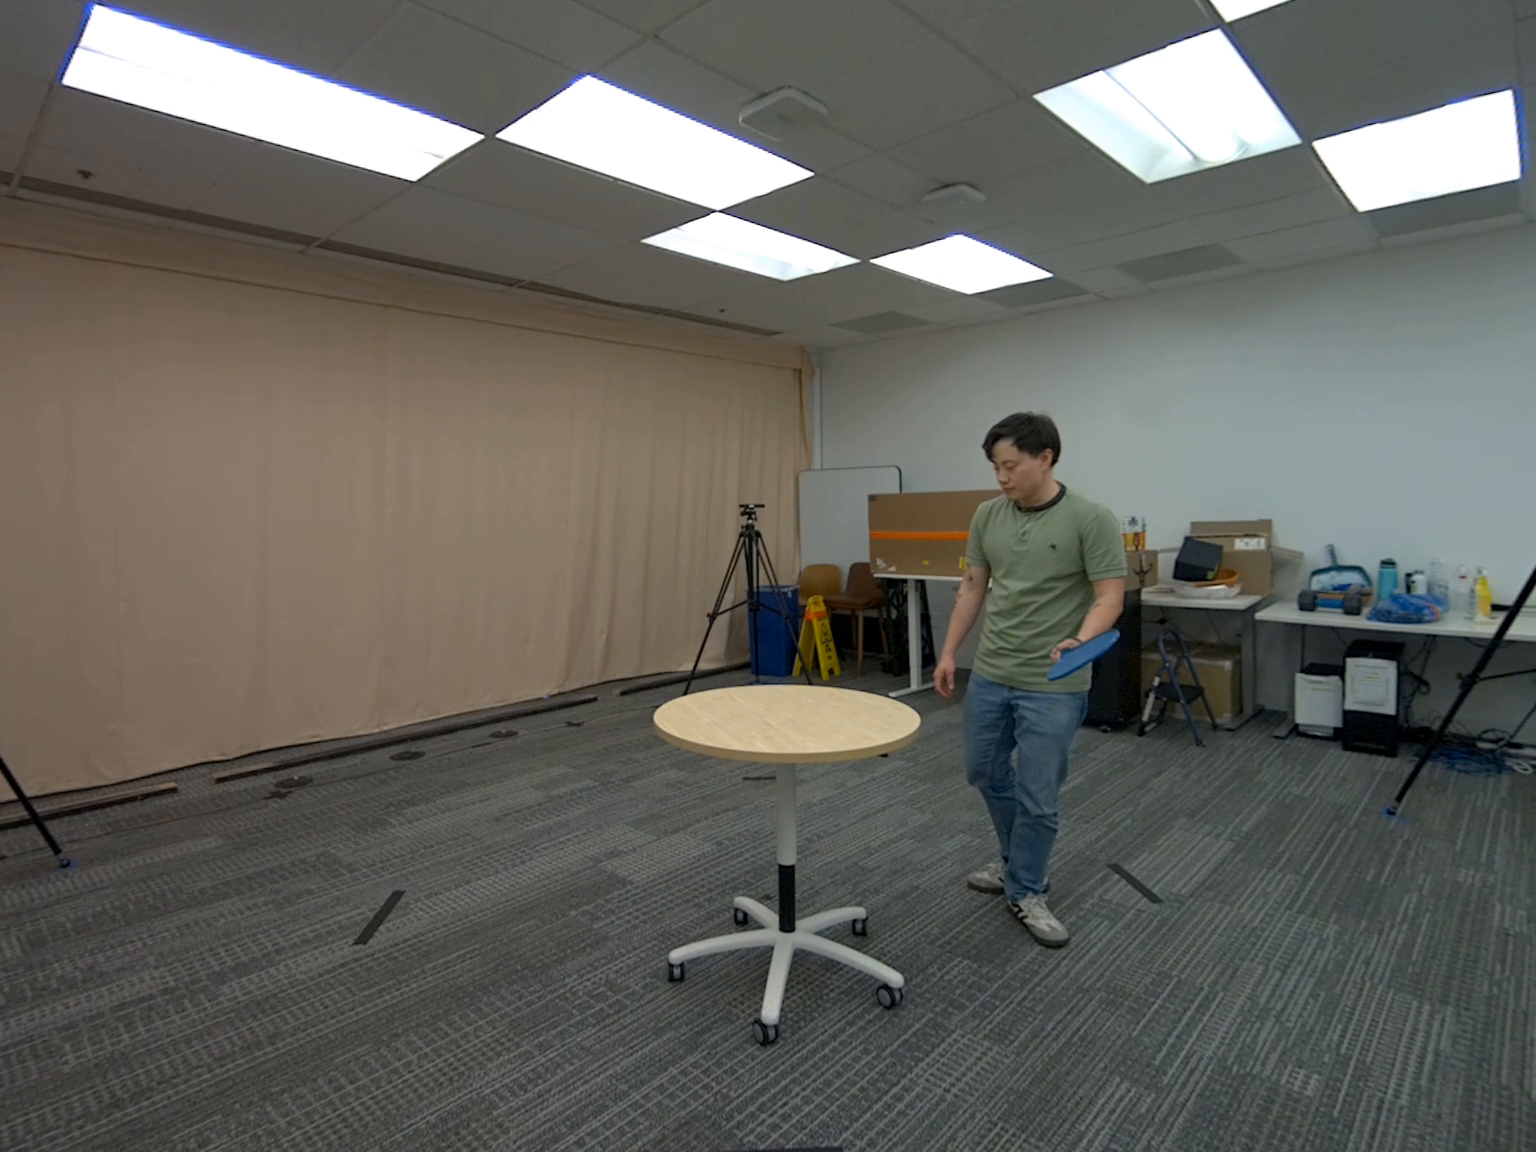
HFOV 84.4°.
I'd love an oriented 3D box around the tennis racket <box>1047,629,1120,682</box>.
[{"bbox_3d":[0.842,0.219,2.281,0.214,0.032,0.429,-36,-6,-1],"label":"tennis racket"}]
